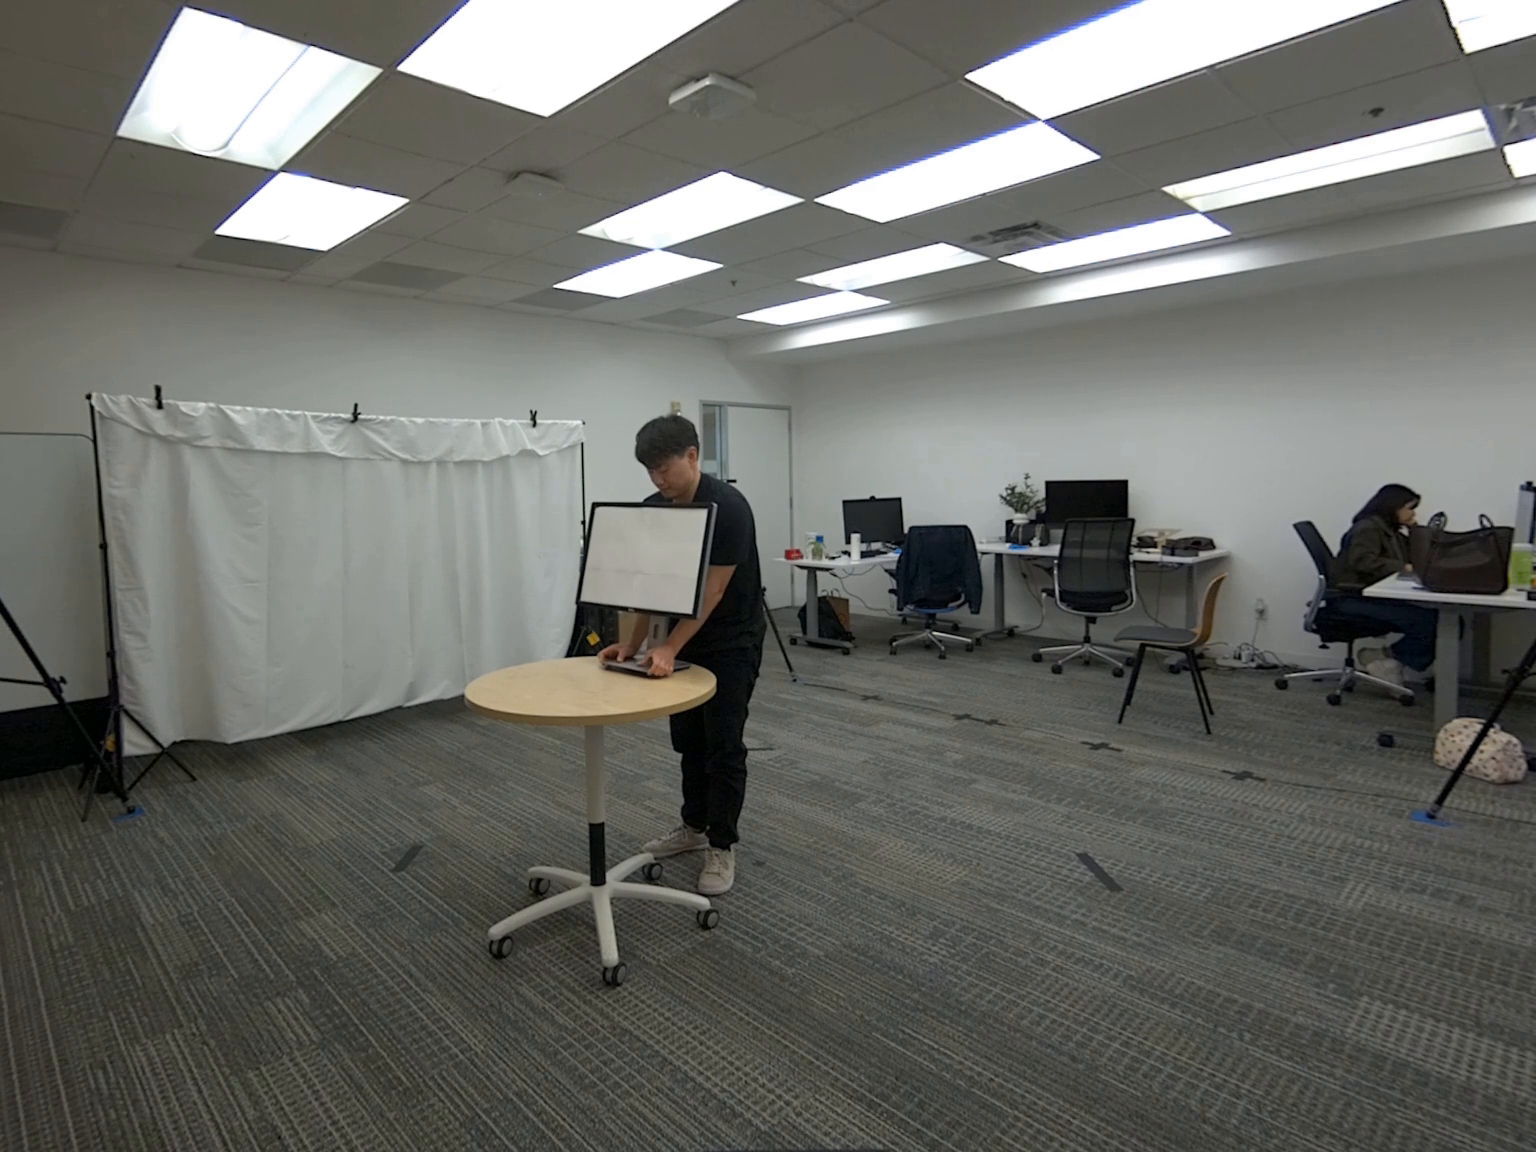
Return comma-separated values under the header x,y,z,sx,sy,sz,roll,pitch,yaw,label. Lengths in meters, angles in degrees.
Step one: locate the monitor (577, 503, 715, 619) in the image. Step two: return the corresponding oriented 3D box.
x,y,z,sx,sy,sz,roll,pitch,yaw,label
-0.390,0.032,2.809,0.555,0.522,0.182,3,2,39,monitor
